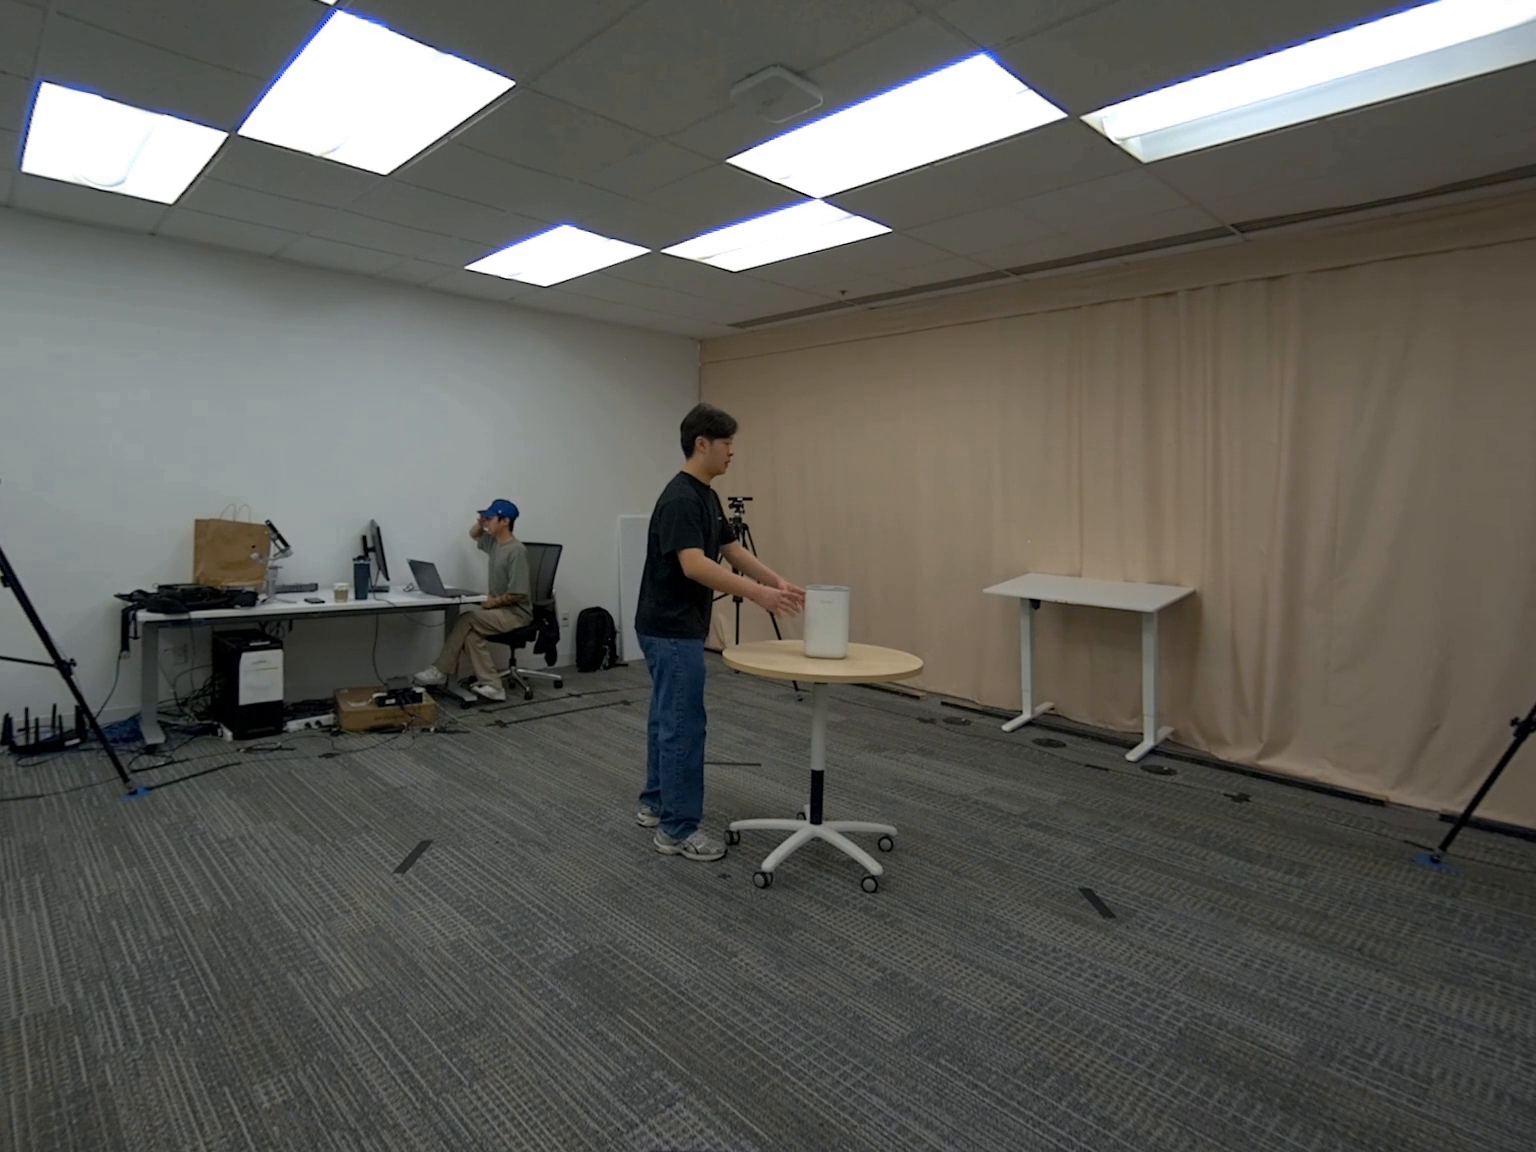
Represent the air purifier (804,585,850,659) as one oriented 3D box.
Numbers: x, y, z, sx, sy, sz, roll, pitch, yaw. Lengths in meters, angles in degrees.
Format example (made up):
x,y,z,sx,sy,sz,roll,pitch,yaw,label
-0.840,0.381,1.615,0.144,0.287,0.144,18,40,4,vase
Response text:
x,y,z,sx,sy,sz,roll,pitch,yaw,label
0.215,0.174,3.250,0.172,0.265,0.171,2,3,6,air purifier
